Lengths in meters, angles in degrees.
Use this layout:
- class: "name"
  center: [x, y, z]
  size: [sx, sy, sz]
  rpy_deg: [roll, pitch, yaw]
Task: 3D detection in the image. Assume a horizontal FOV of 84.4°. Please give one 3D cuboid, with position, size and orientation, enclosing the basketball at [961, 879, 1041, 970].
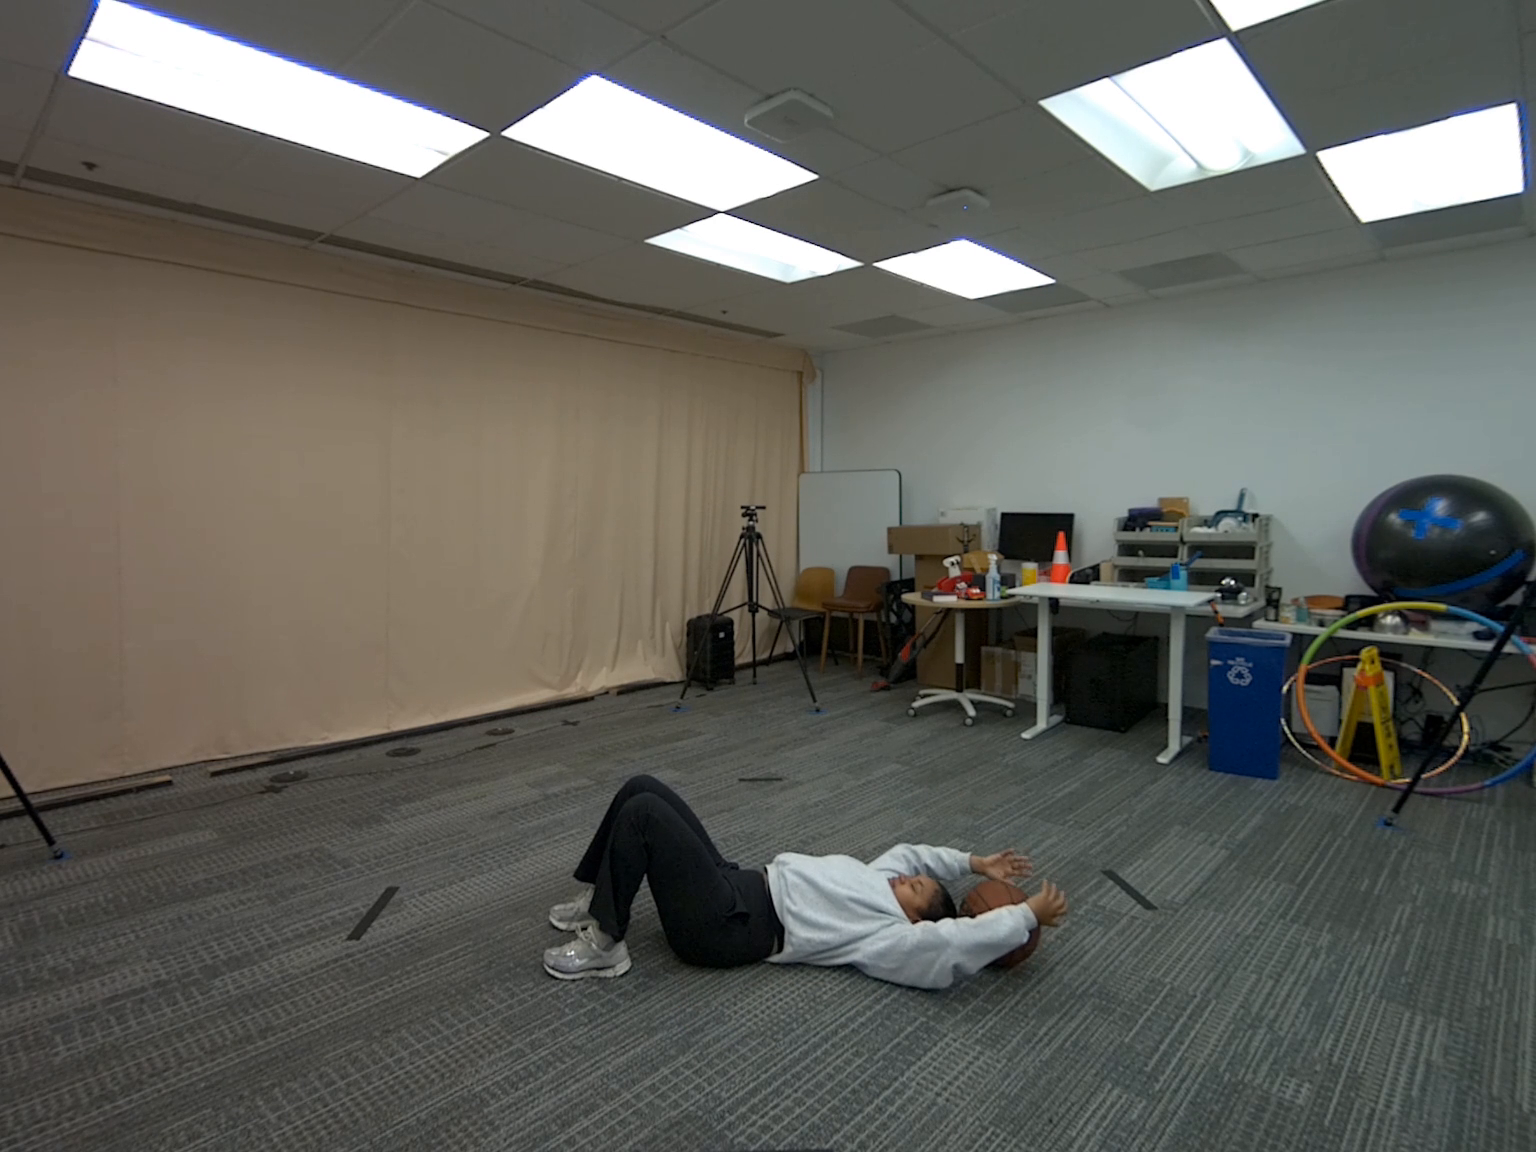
- class: "basketball"
  center: [0.723, 1.054, 2.566]
  size: [0.236, 0.235, 0.237]
  rpy_deg: [0, 4, -2]
